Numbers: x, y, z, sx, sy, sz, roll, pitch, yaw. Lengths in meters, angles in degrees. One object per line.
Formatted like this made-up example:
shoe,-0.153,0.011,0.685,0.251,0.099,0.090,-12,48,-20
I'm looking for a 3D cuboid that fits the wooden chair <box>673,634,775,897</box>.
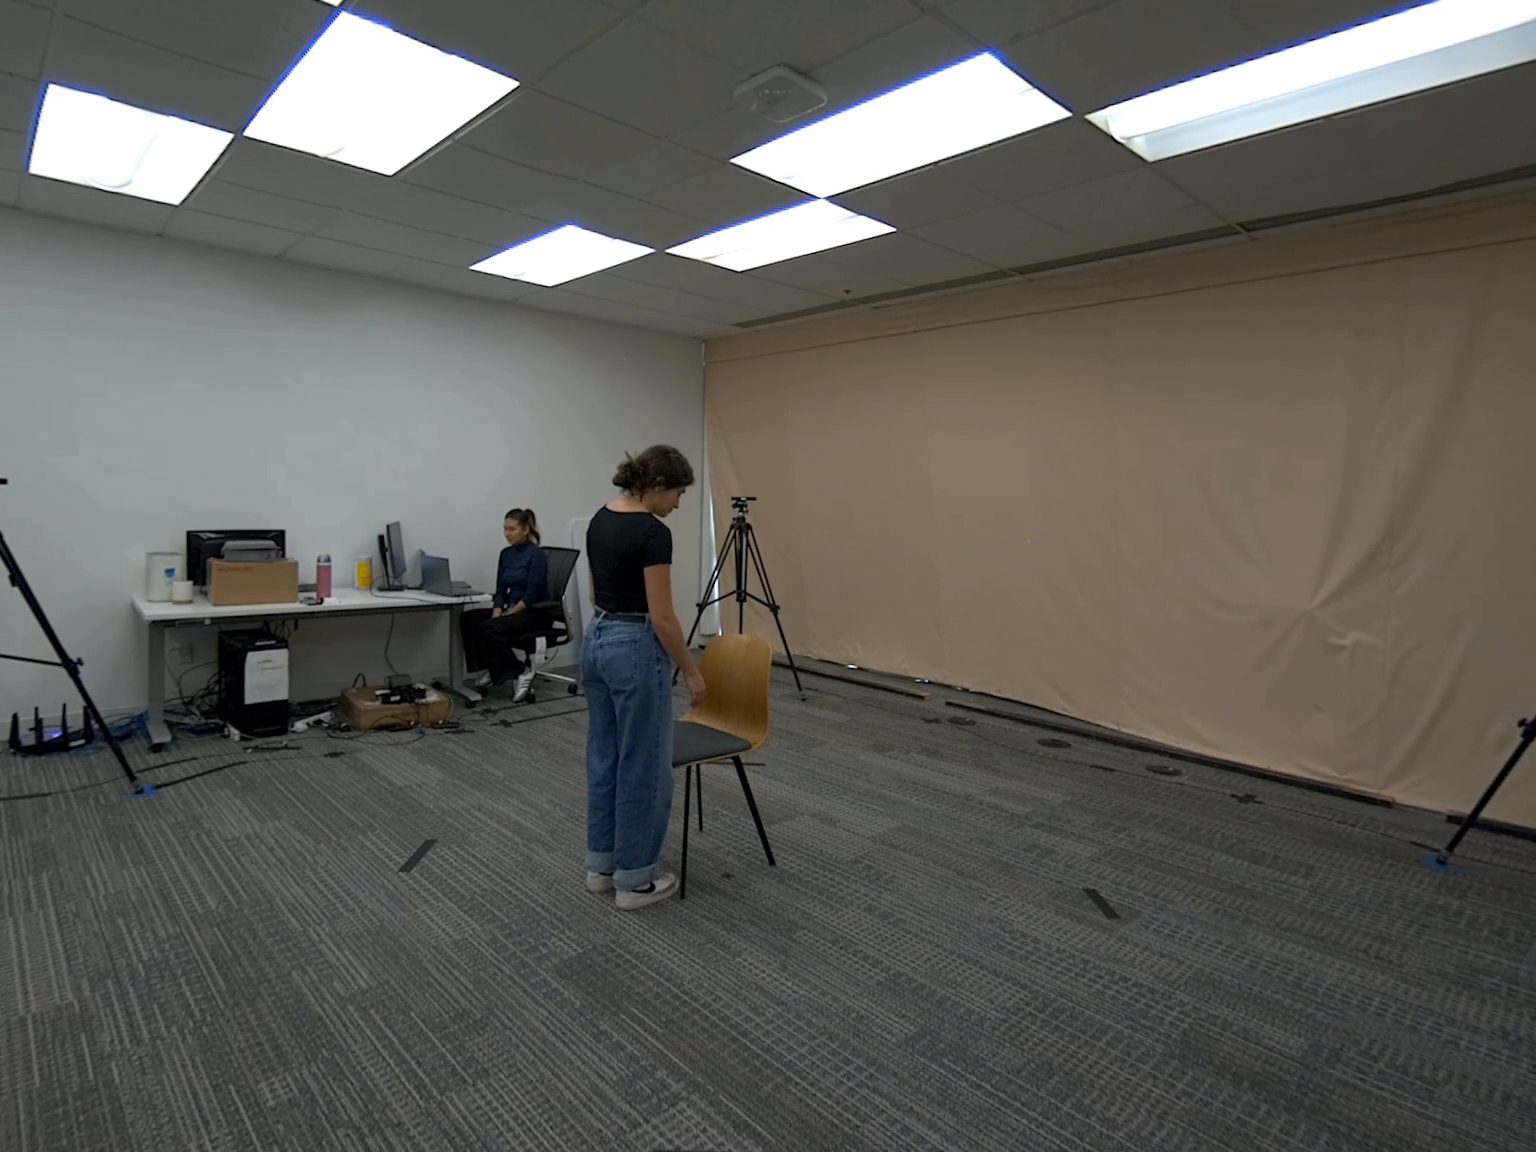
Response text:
wooden chair,-0.285,0.673,3.192,0.510,0.877,0.490,3,1,-43
